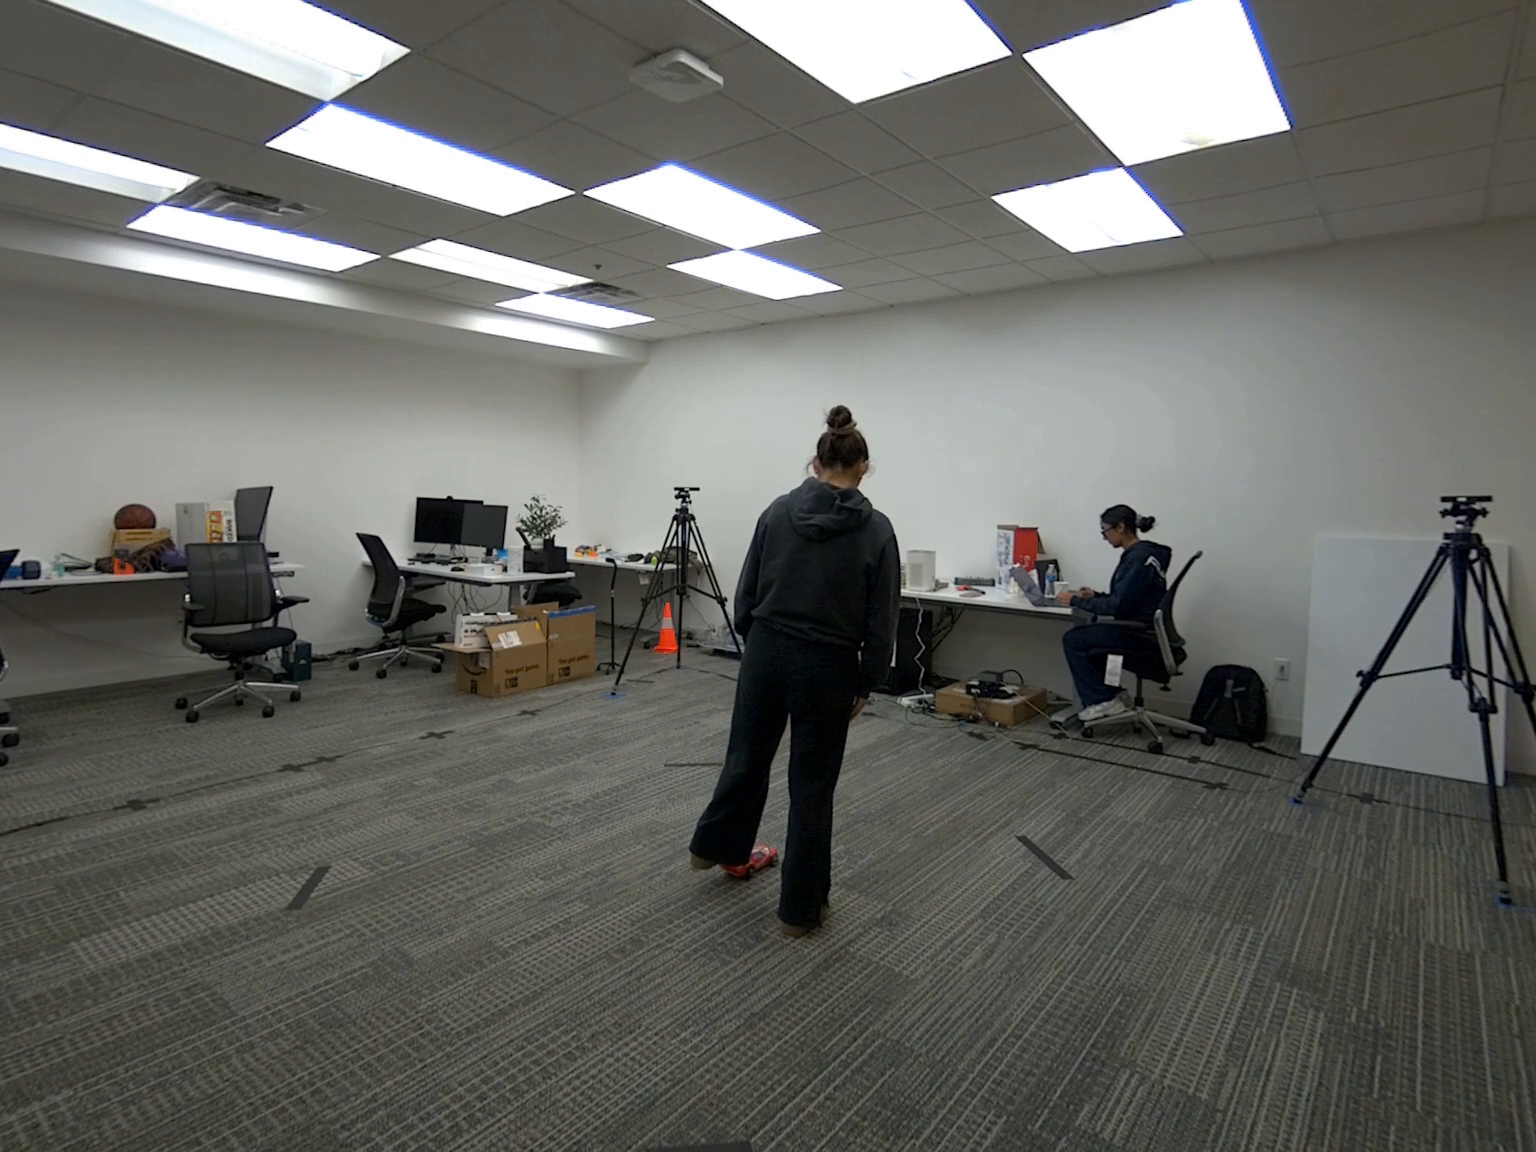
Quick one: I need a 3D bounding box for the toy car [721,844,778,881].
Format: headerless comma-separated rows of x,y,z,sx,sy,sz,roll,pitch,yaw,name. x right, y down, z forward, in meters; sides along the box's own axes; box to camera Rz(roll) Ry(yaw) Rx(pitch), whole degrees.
-0.073,1.039,3.107,0.135,0.083,0.245,5,-3,39,toy car
